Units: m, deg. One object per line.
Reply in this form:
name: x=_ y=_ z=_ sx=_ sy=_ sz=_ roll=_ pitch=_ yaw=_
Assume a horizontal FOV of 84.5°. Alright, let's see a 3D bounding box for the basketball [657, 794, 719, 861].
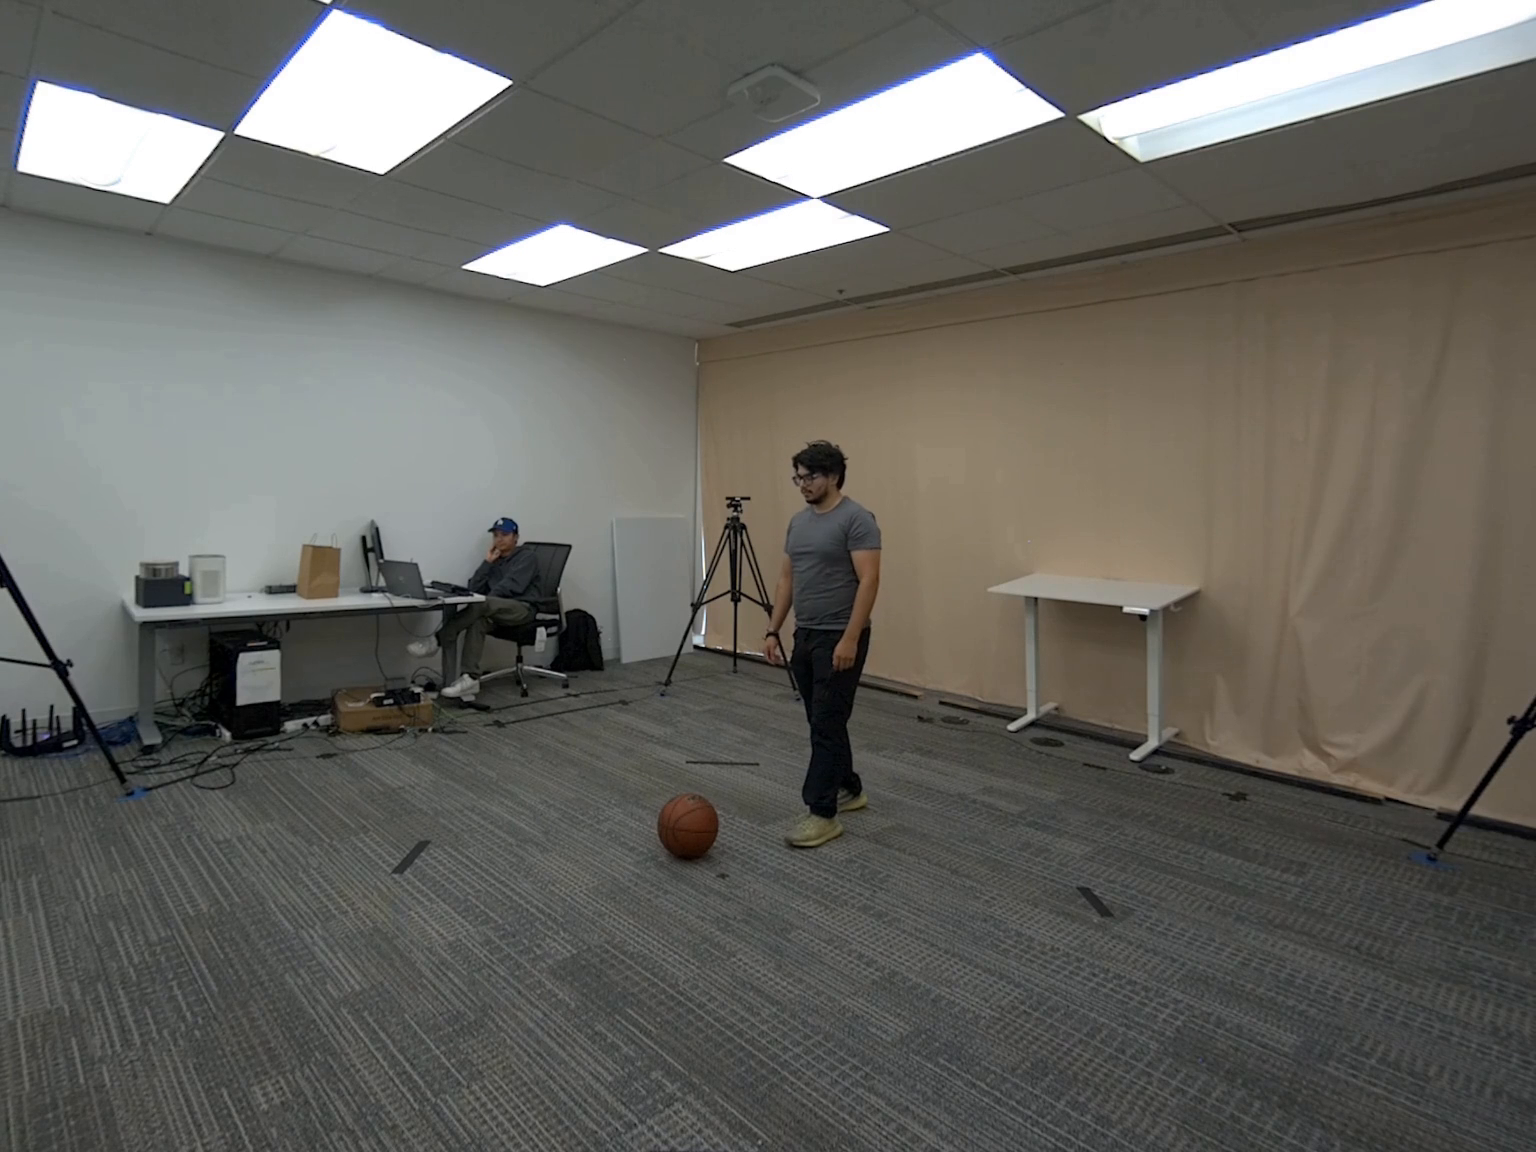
basketball: x=-0.315 y=0.965 z=3.261 sx=0.236 sy=0.235 sz=0.237 roll=1 pitch=4 yaw=-1
